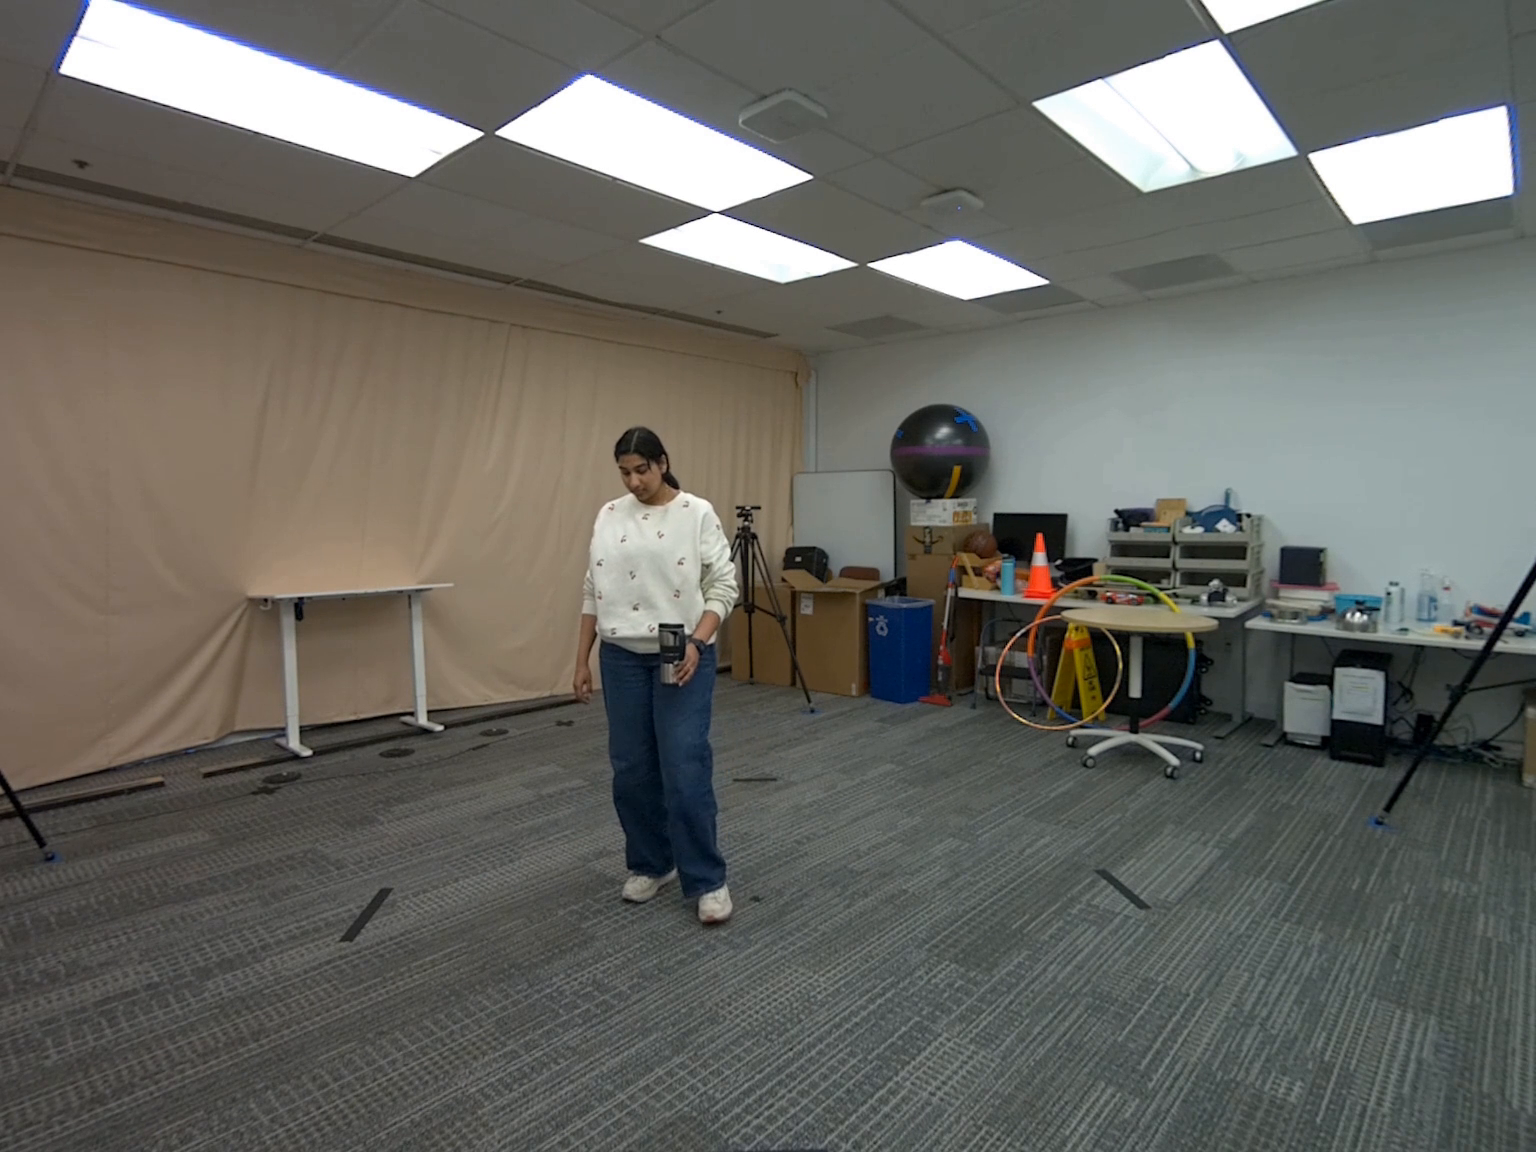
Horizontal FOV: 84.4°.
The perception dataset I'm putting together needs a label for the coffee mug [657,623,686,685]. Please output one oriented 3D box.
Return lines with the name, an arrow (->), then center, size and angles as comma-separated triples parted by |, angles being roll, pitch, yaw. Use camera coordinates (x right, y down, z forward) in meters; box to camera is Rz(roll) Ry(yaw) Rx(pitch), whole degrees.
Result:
coffee mug -> -0.306, 0.258, 2.721 | 0.086, 0.203, 0.124 | 3, -2, -19
